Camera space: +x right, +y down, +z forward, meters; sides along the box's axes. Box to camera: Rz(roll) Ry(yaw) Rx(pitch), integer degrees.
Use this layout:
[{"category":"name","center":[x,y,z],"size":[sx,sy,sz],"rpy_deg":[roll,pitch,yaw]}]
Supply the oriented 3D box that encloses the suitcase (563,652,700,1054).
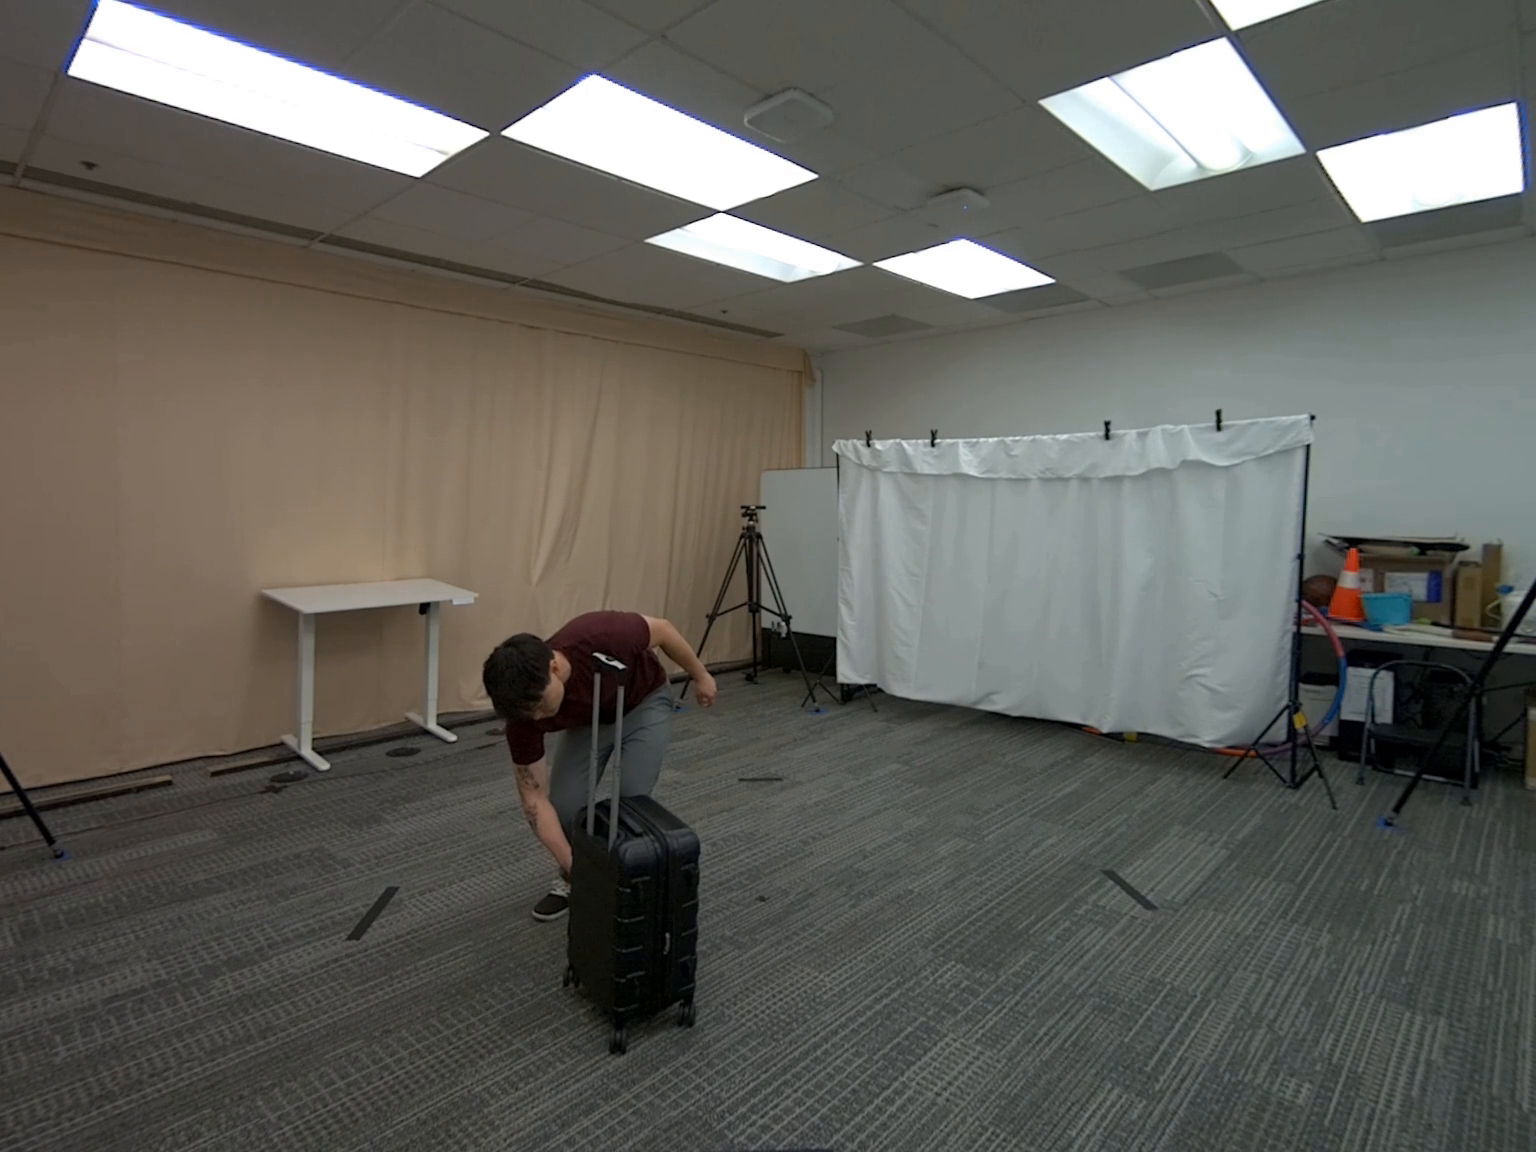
[{"category":"suitcase","center":[-0.354,0.712,2.296],"size":[0.249,0.976,0.397],"rpy_deg":[1,6,-35]}]
